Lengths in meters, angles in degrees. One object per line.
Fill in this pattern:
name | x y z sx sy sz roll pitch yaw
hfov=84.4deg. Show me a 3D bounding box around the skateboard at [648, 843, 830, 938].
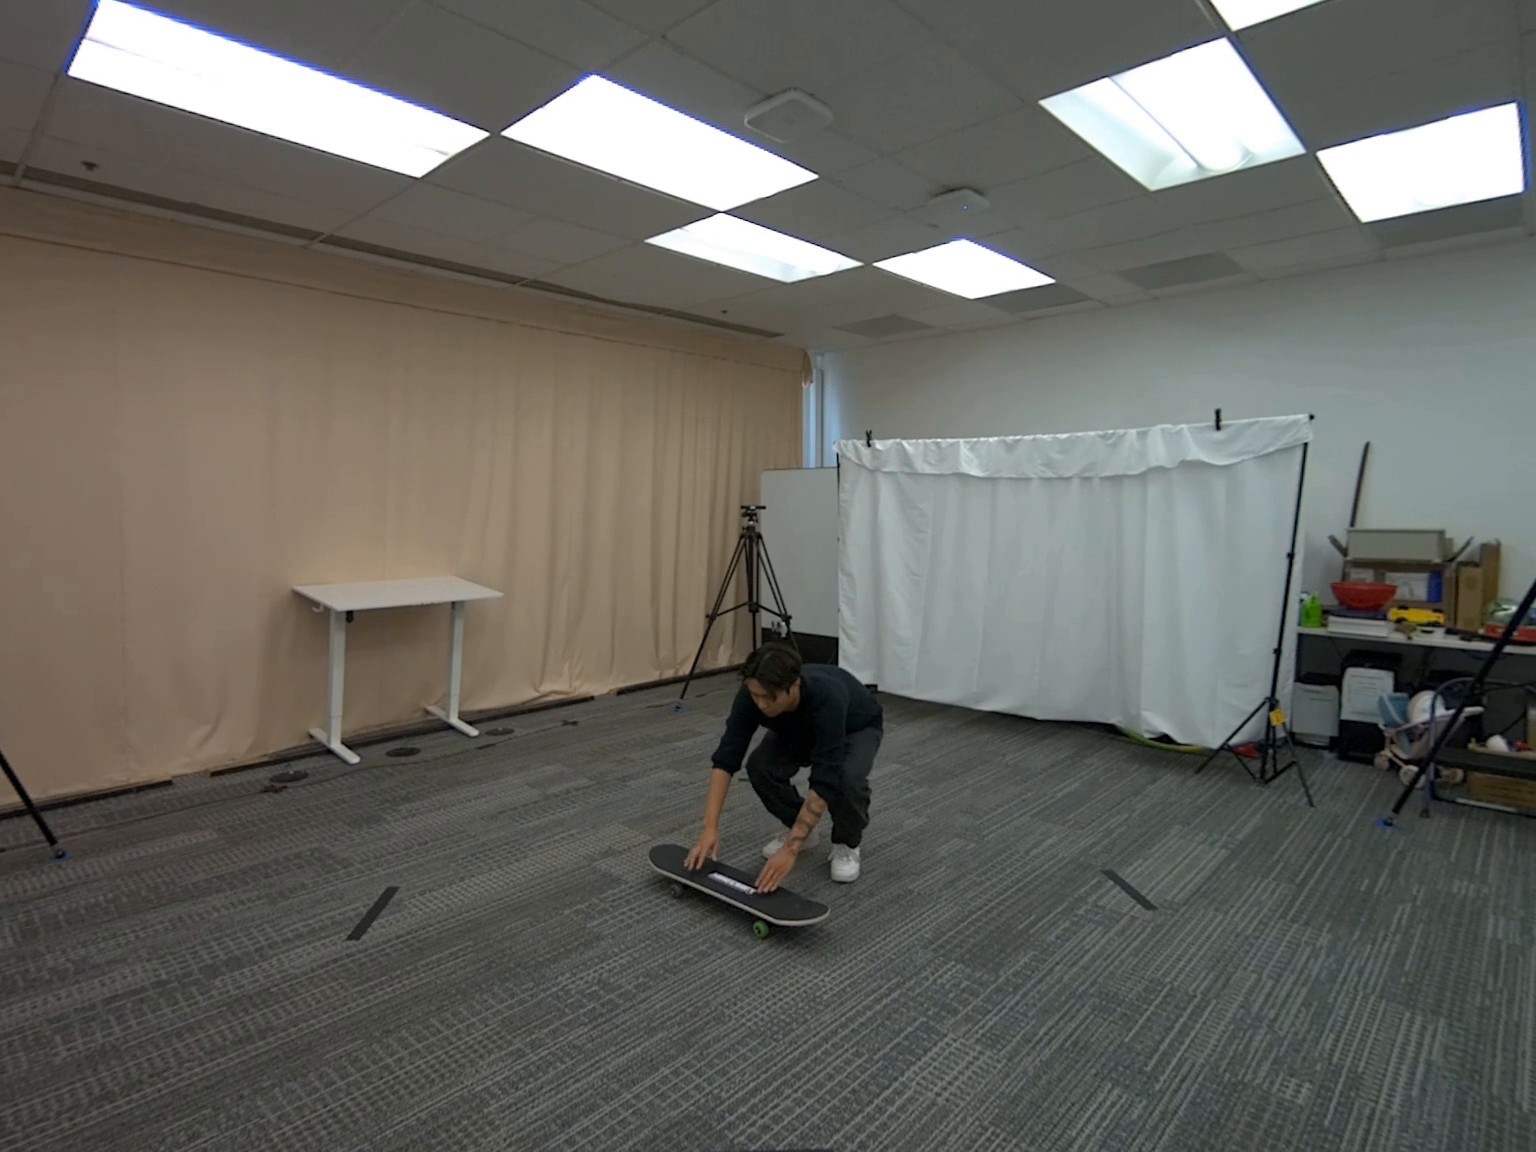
skateboard | -0.121 1.085 2.911 0.812 0.110 0.187 4 6 43
